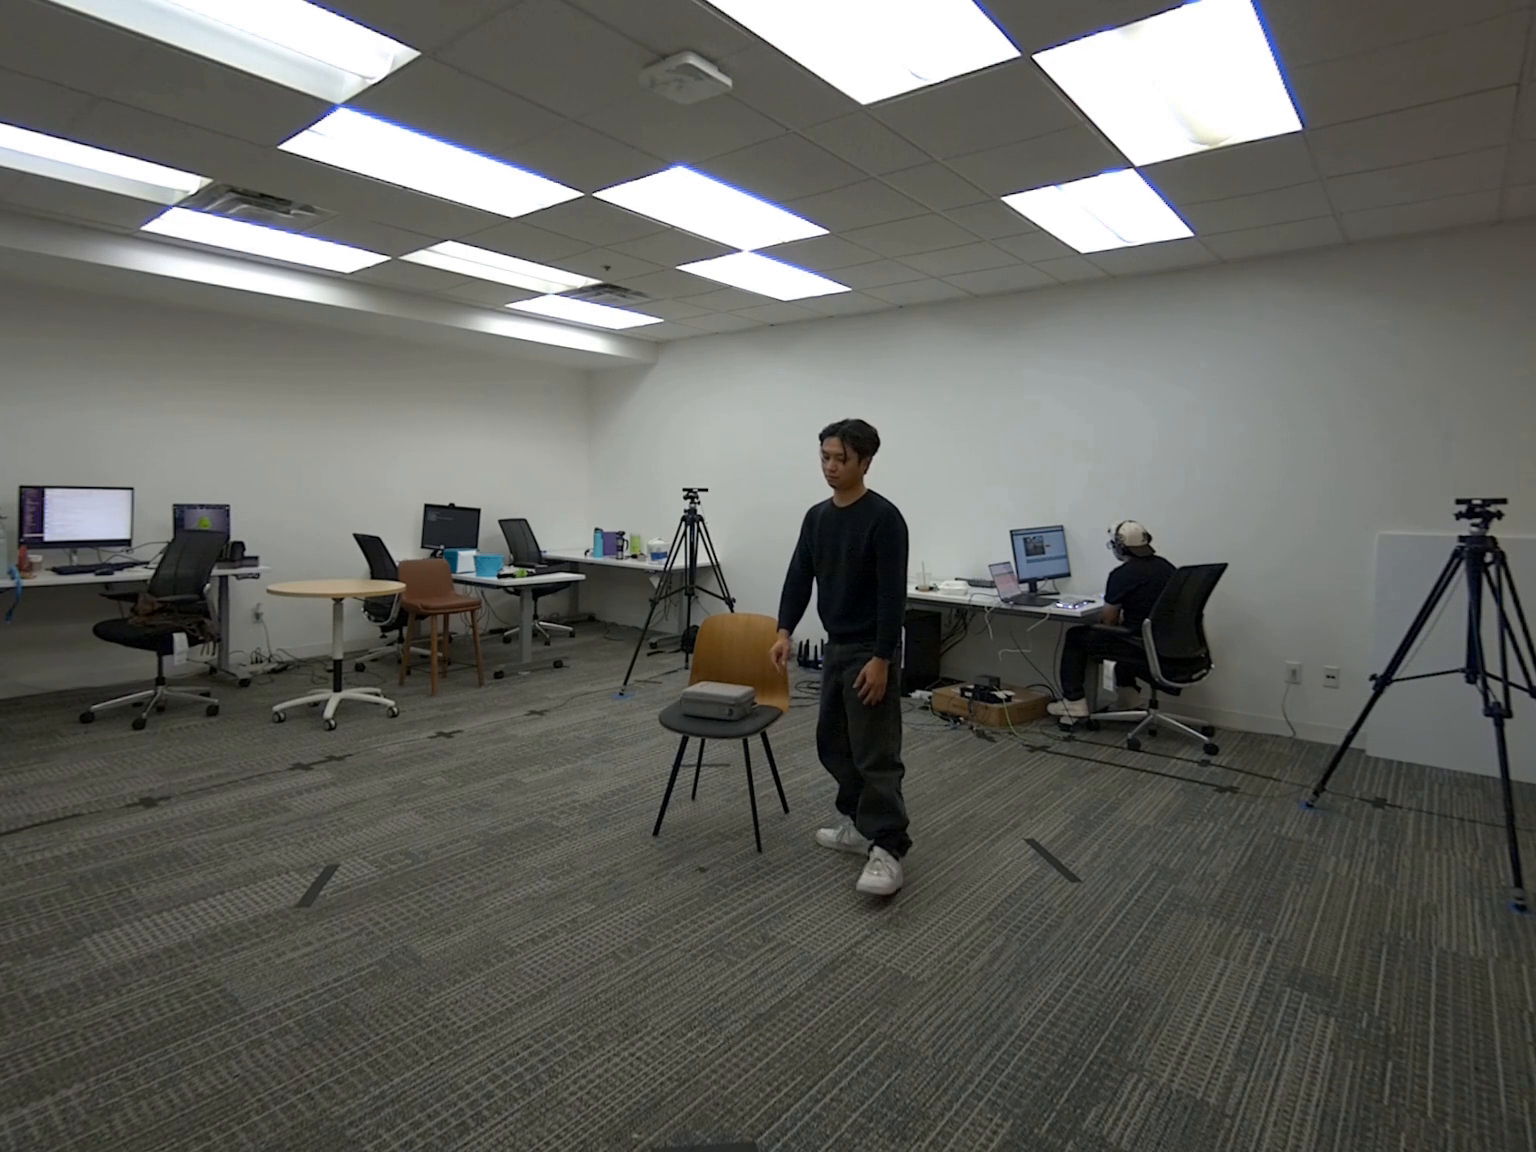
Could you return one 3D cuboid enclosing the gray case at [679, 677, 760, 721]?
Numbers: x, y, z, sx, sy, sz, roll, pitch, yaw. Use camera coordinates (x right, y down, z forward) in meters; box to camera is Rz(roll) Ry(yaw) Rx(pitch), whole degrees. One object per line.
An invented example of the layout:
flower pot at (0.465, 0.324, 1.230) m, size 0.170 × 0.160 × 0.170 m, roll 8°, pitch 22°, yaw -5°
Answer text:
gray case at (-0.198, 0.499, 3.456) m, size 0.265 × 0.104 × 0.253 m, roll 4°, pitch 2°, yaw 15°
